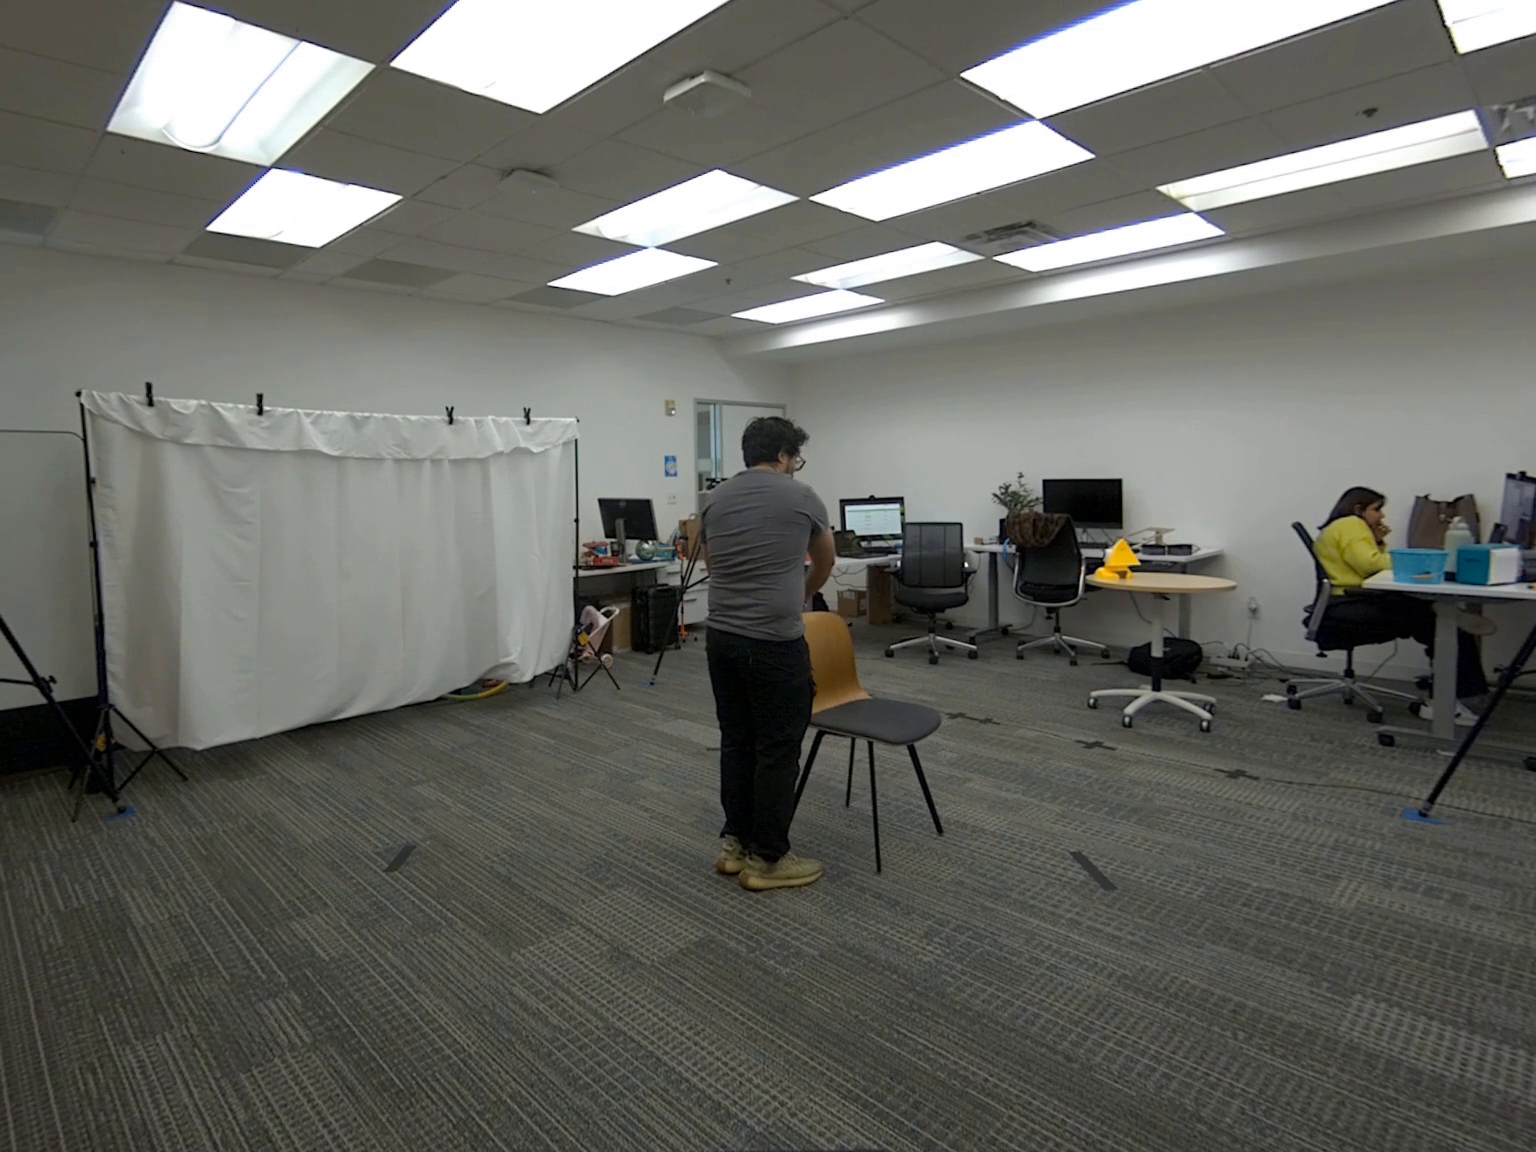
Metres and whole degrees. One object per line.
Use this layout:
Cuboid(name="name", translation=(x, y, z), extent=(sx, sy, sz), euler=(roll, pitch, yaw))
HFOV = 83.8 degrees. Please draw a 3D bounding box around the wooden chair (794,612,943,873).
Cuboid(name="wooden chair", translation=(0.373, 0.588, 3.278), extent=(0.538, 0.876, 0.465), euler=(-3, 2, 41))
